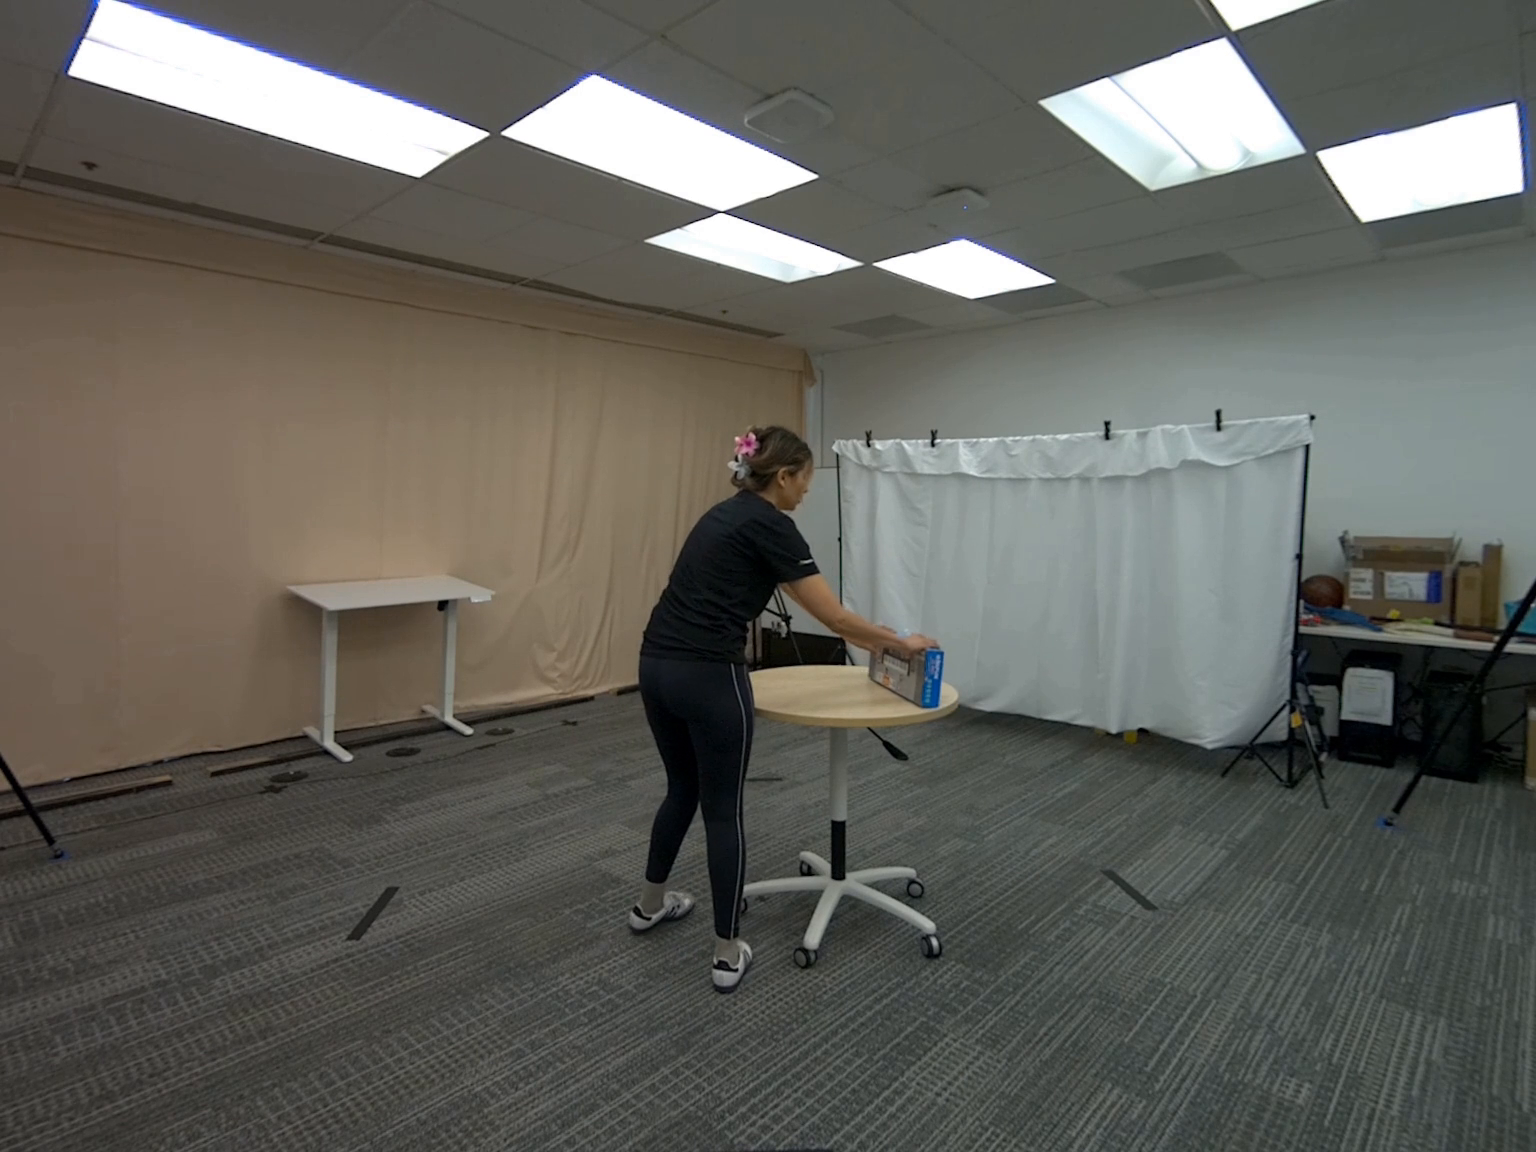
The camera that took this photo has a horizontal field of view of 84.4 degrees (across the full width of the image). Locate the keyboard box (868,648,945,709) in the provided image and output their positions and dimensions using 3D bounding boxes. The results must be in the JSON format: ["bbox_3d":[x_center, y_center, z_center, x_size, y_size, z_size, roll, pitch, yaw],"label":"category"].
[{"bbox_3d":[0.442,0.291,2.734,0.058,0.176,0.443,5,3,-13],"label":"keyboard box"}]
